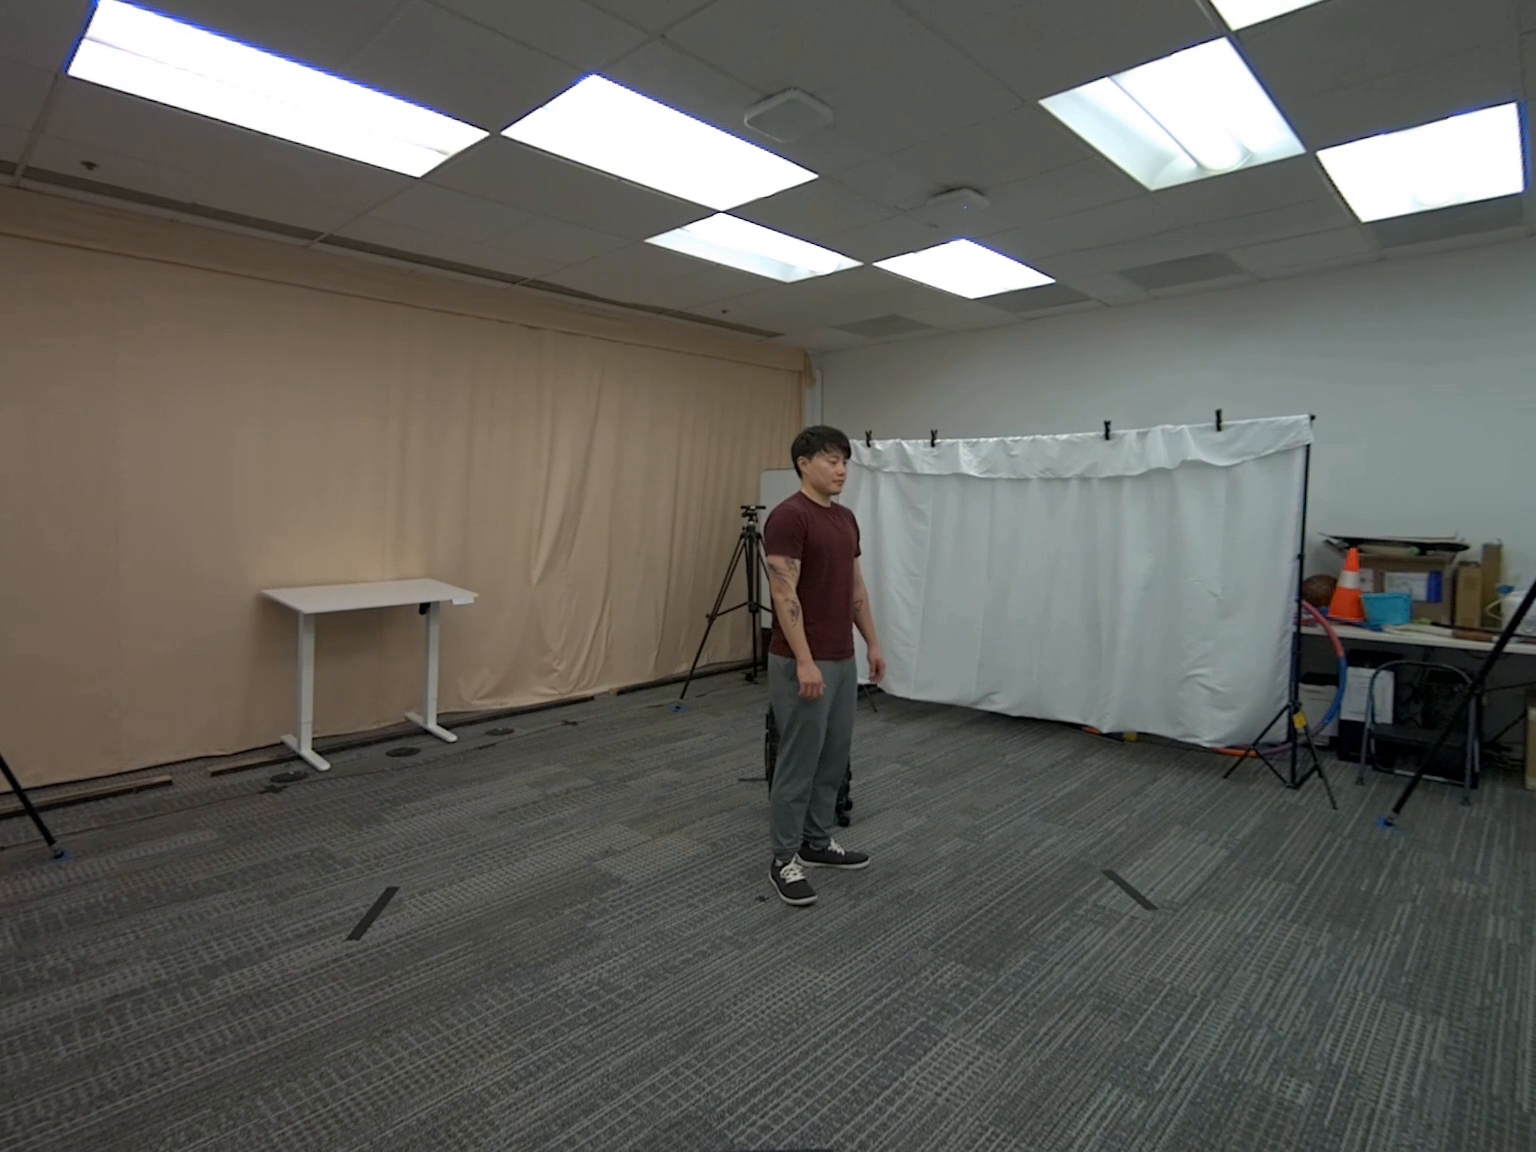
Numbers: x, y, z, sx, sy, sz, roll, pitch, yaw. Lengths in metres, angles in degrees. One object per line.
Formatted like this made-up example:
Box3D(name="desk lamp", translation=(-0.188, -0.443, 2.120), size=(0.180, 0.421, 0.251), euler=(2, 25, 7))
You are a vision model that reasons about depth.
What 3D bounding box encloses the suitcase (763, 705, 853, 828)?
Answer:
Box3D(name="suitcase", translation=(0.181, 0.600, 3.787), size=(0.388, 0.979, 0.254), euler=(-1, 0, 9))
